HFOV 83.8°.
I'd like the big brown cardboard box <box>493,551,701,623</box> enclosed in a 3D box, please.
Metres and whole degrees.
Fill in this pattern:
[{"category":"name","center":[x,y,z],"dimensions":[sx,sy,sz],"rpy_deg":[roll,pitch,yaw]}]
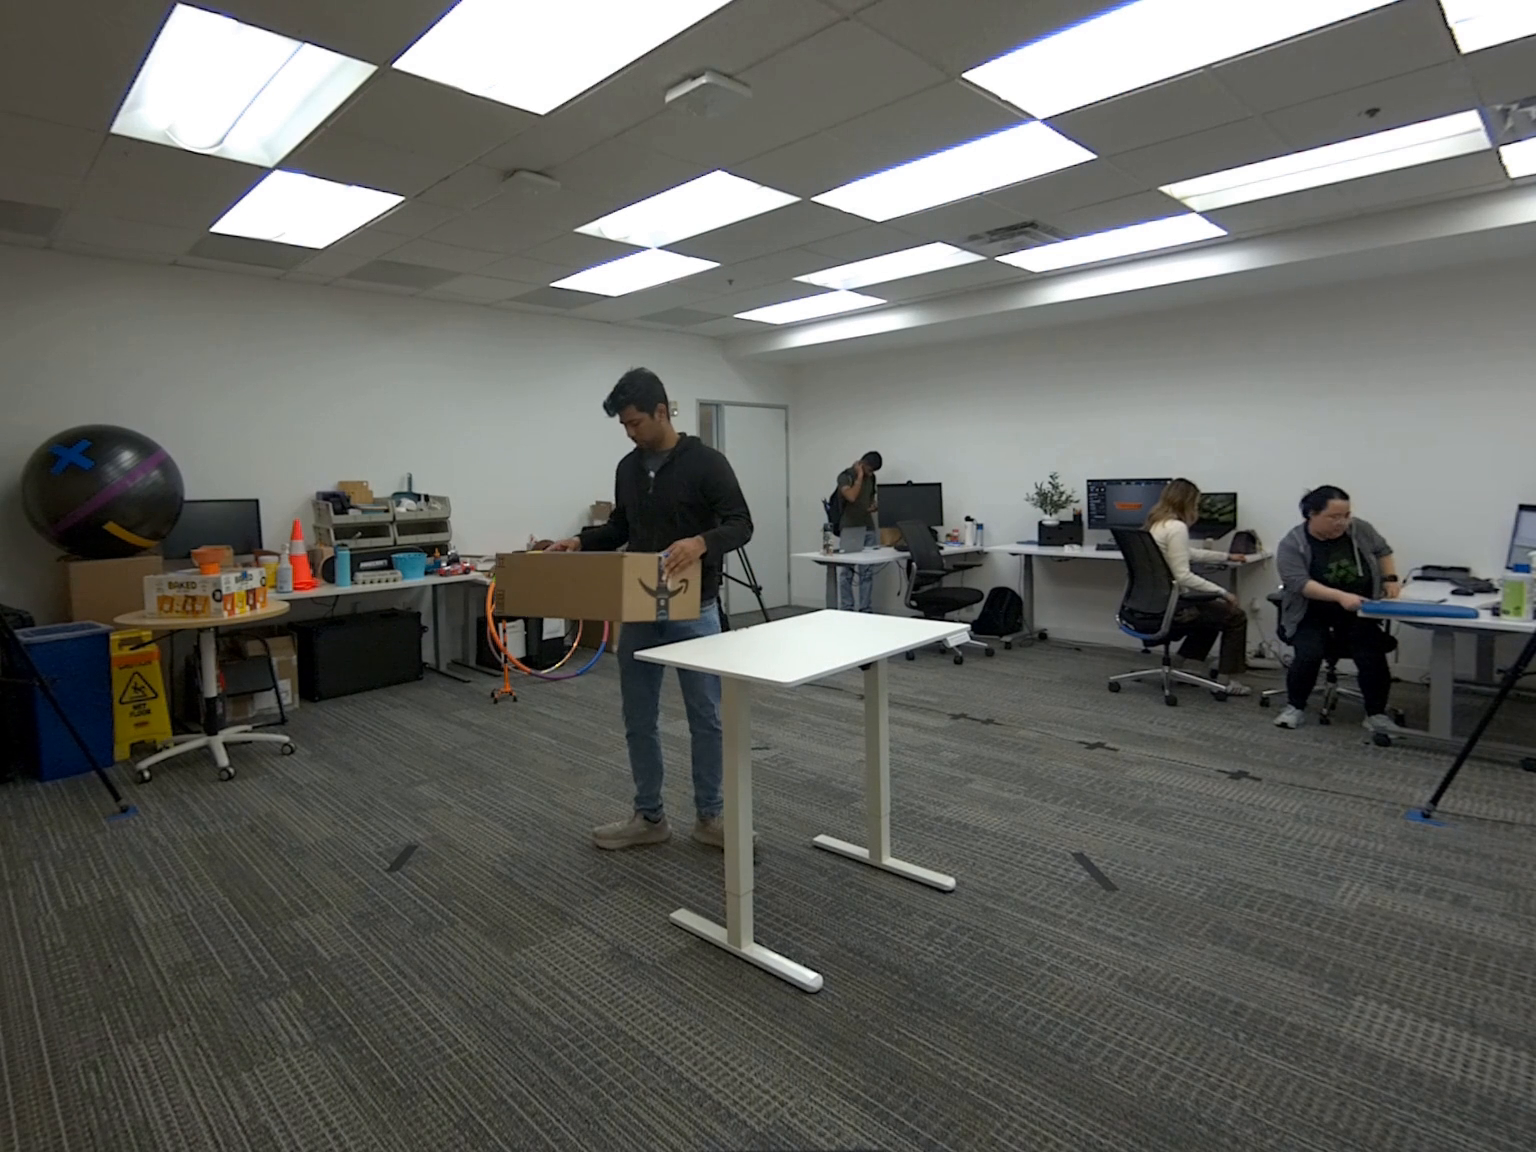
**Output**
[{"category":"big brown cardboard box","center":[-0.588,0.043,2.930],"dimensions":[0.605,0.233,0.406],"rpy_deg":[3,0,32]}]
